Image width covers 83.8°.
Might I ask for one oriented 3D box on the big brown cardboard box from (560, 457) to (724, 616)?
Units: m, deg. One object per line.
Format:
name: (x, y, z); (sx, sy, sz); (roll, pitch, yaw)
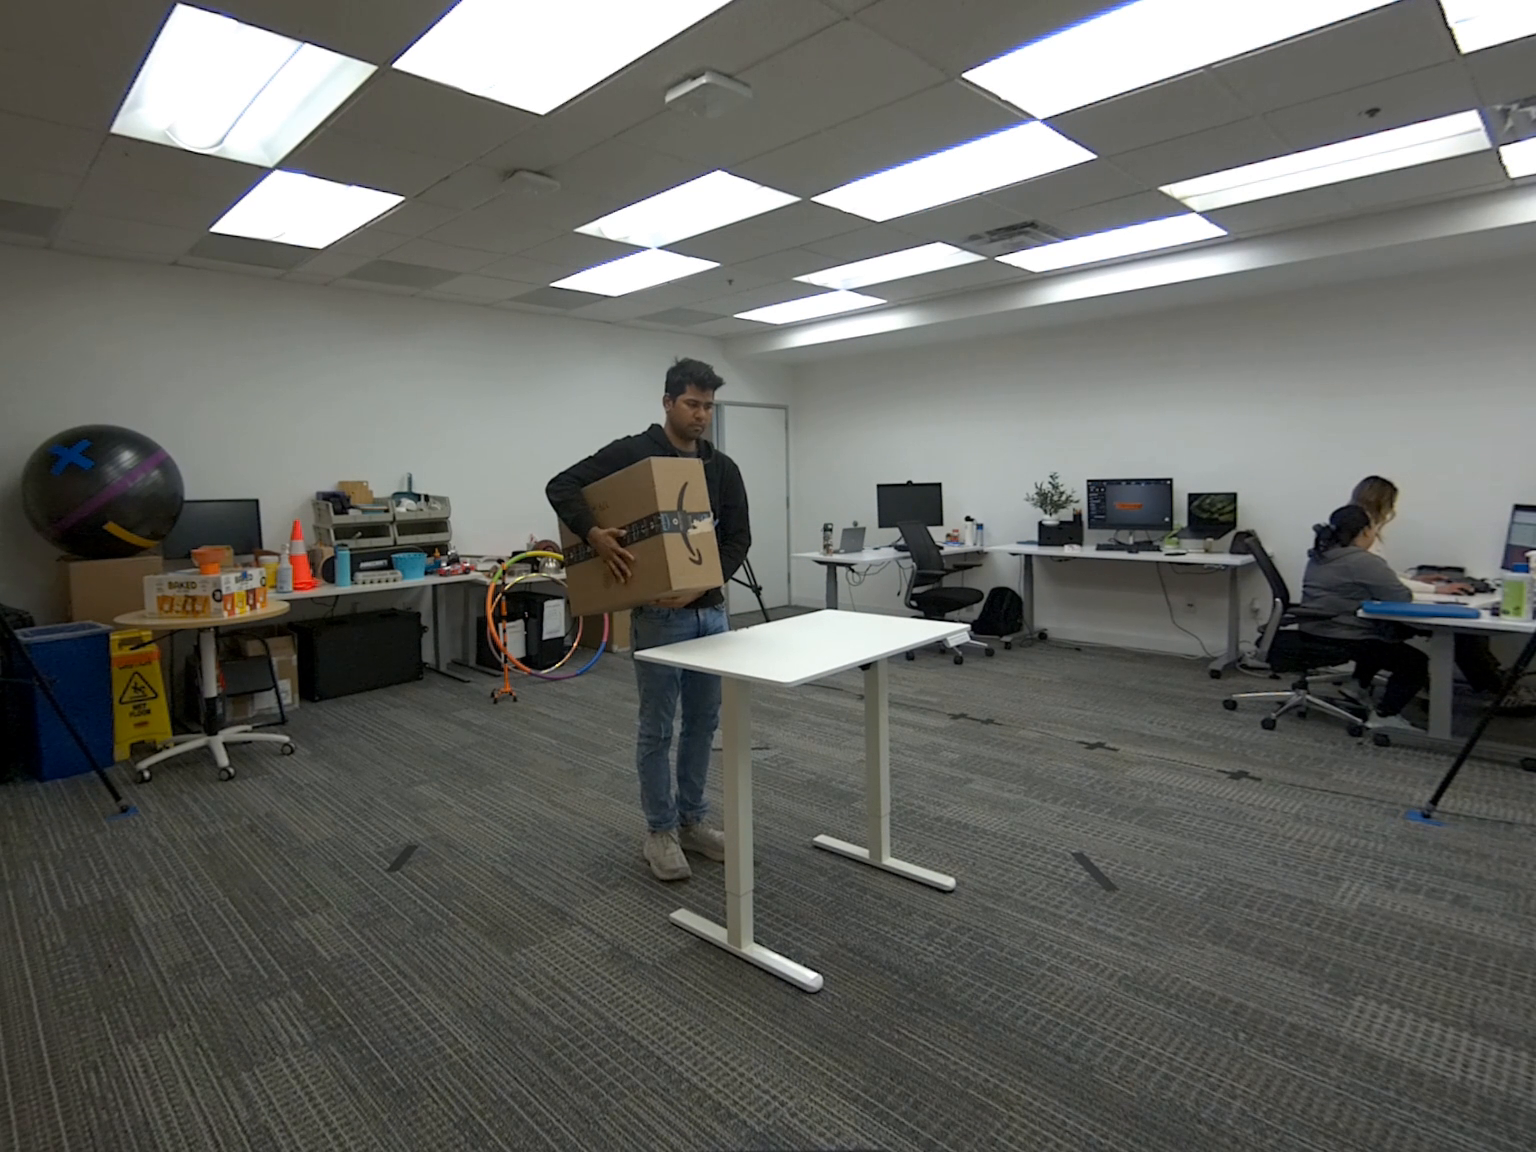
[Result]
big brown cardboard box: (-0.444, -0.112, 2.852); (0.227, 0.421, 0.601); (-3, -8, -43)
